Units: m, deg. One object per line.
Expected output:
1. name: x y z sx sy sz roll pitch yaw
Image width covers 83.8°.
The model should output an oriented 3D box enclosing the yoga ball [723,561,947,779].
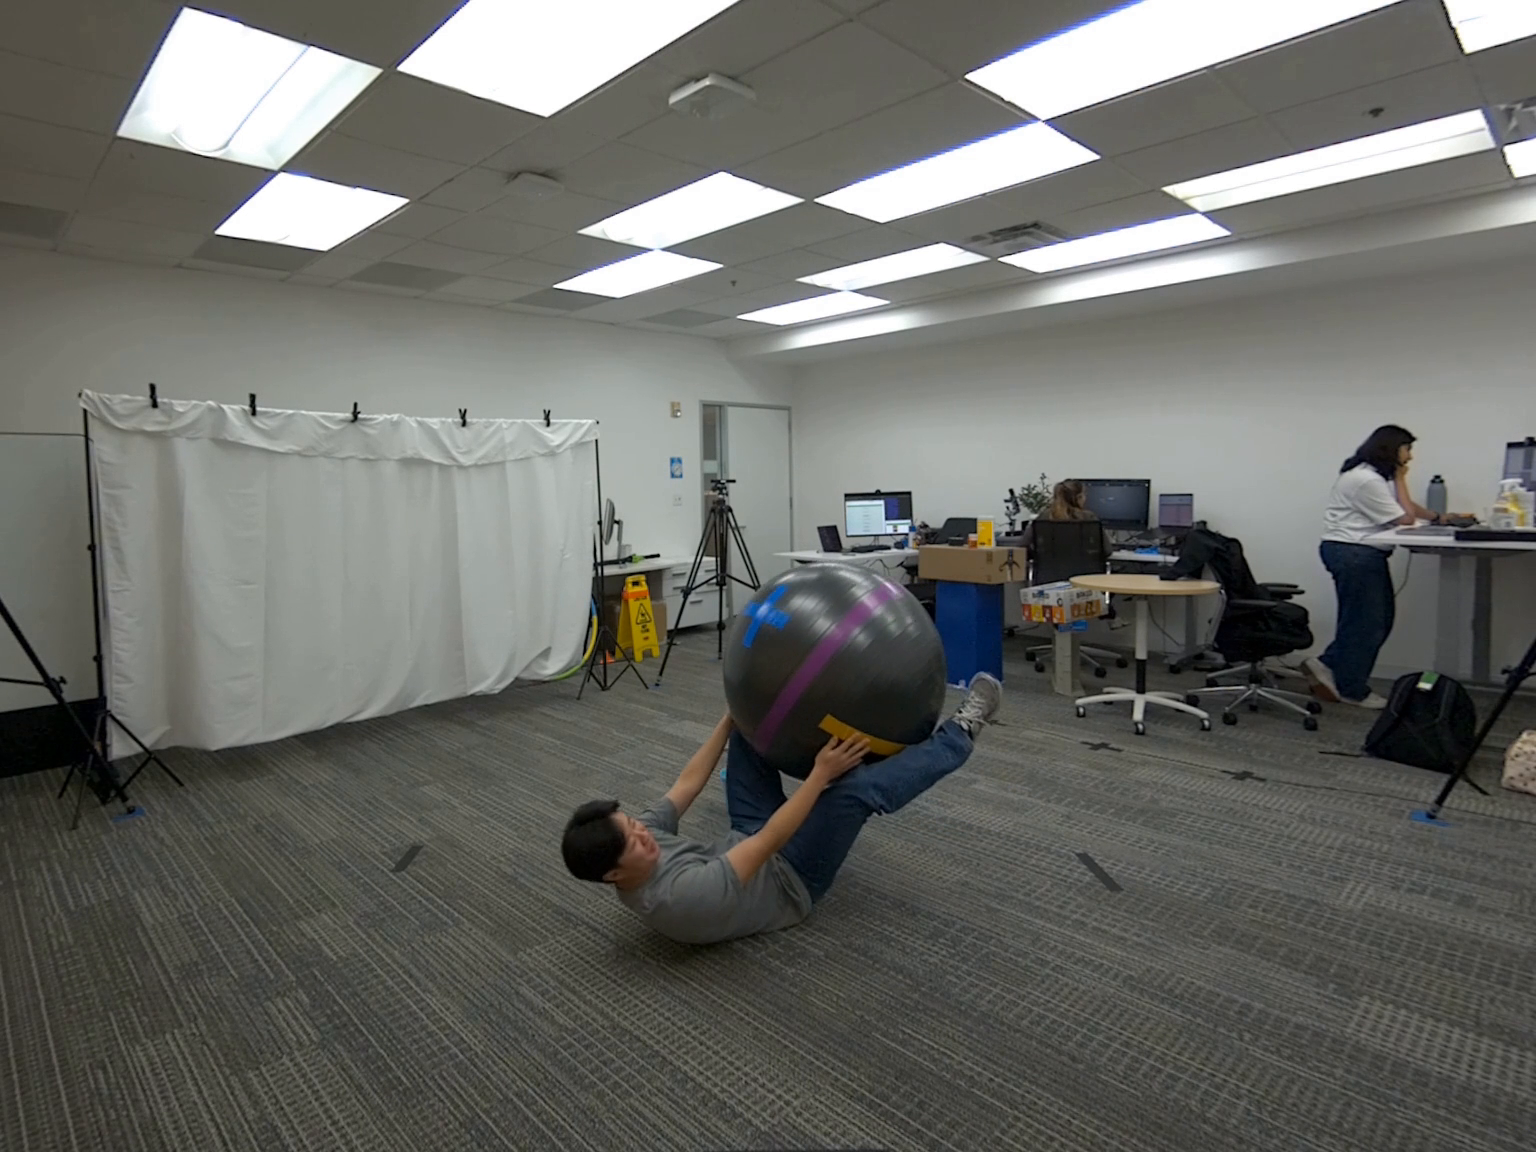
1. yoga ball: 0.227 0.331 2.932 0.757 0.755 0.762 -1 5 -2
